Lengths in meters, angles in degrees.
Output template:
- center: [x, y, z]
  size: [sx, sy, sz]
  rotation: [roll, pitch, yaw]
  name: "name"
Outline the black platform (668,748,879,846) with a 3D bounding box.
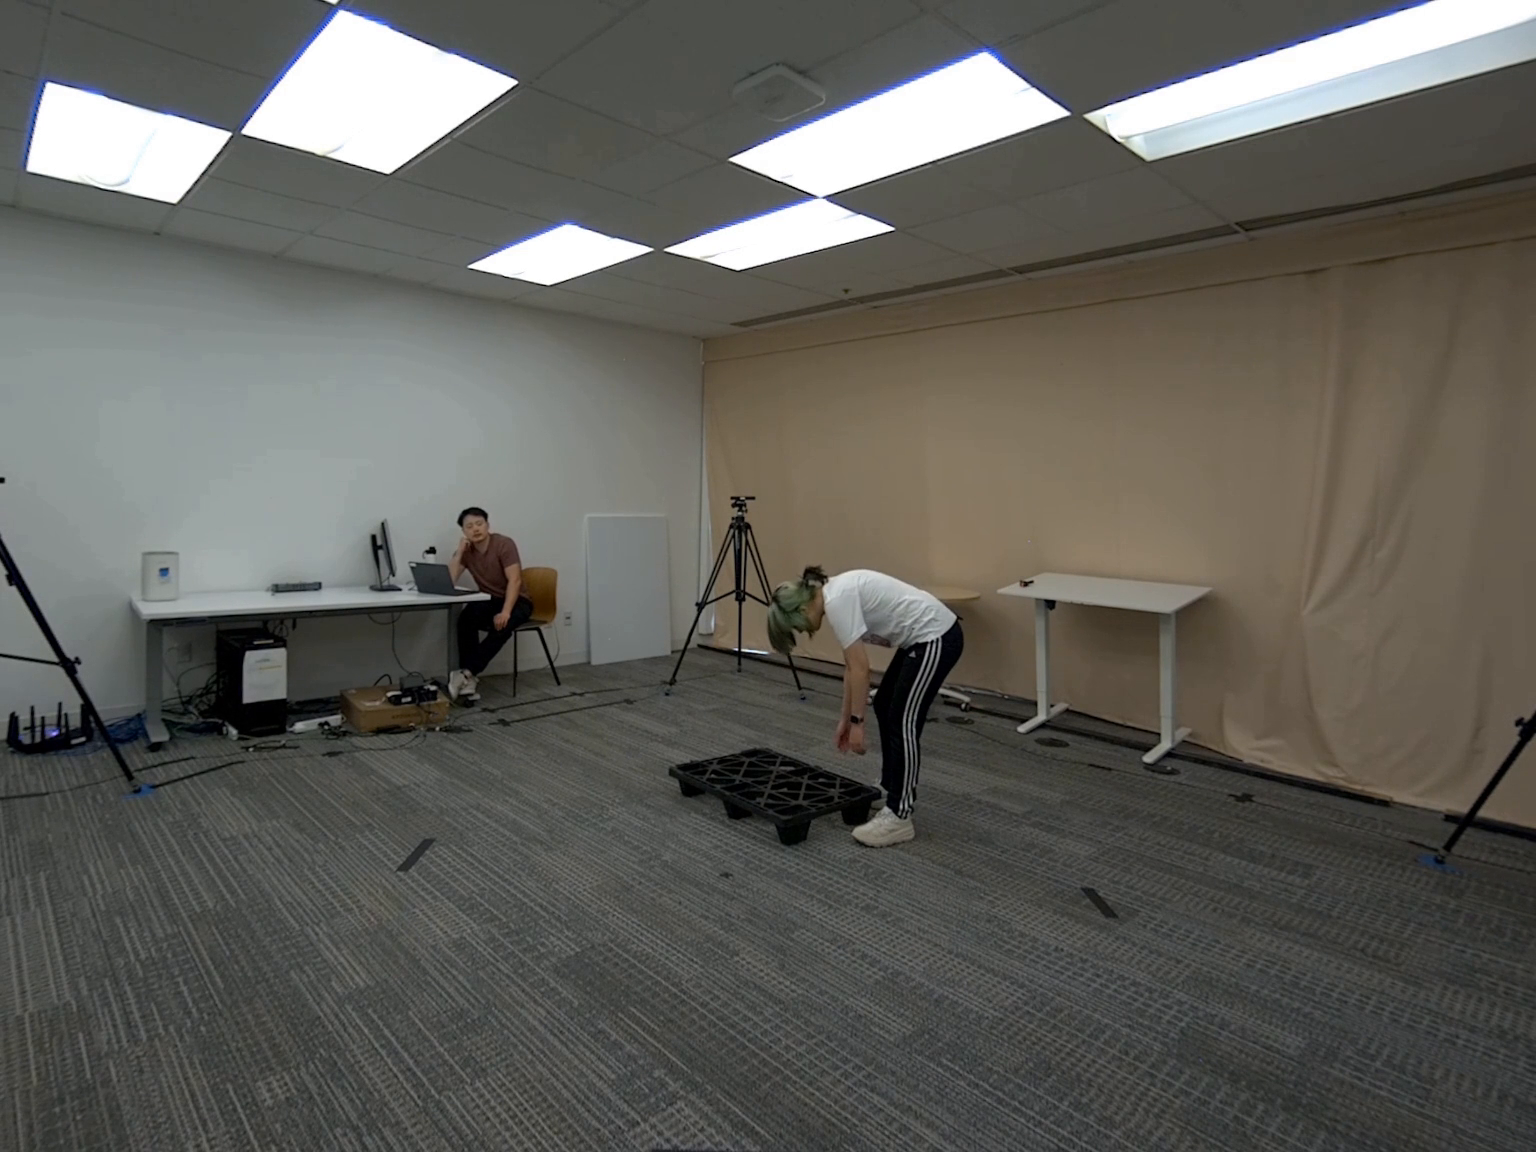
- center: [0.006, 0.980, 3.805]
  size: [0.591, 0.143, 0.826]
  rotation: [-3, 7, -40]
  name: "black platform"
